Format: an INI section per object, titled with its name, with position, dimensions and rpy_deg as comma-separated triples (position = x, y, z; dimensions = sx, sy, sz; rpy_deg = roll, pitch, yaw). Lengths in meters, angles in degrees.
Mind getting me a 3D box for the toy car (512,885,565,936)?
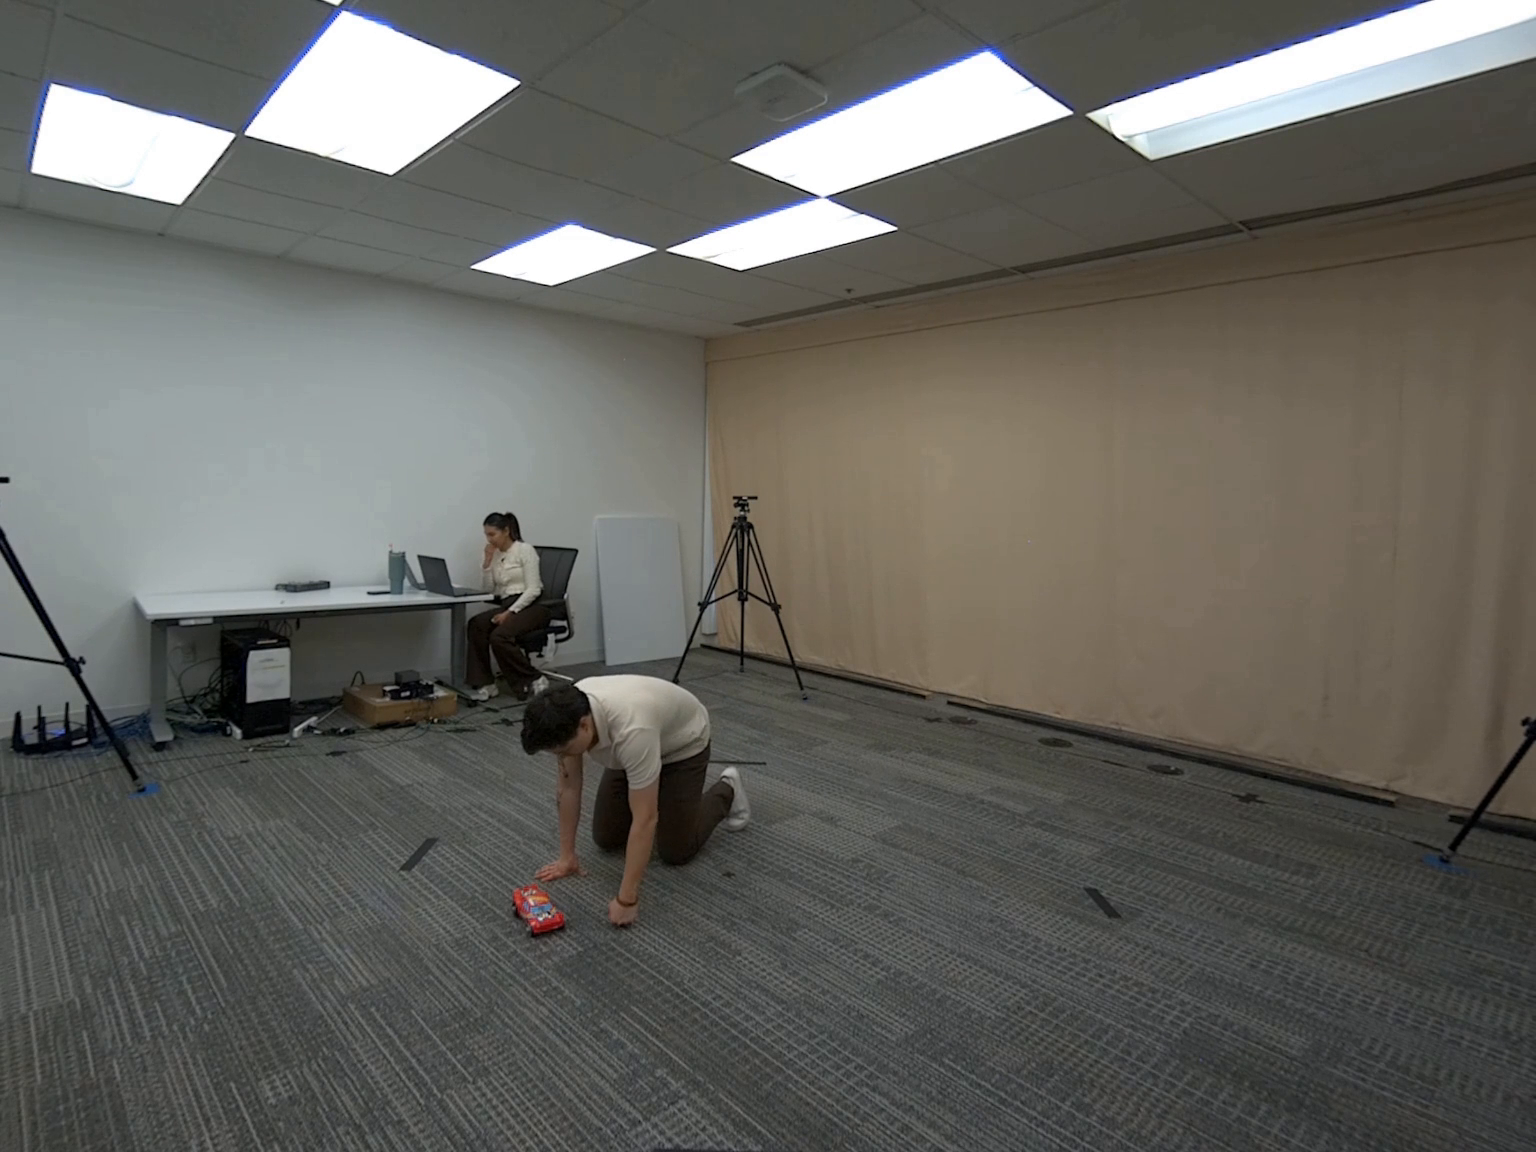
[toy car]
position = -0.771, 1.093, 2.744
dimensions = 0.128, 0.082, 0.262
rpy_deg = -3, 18, -31
